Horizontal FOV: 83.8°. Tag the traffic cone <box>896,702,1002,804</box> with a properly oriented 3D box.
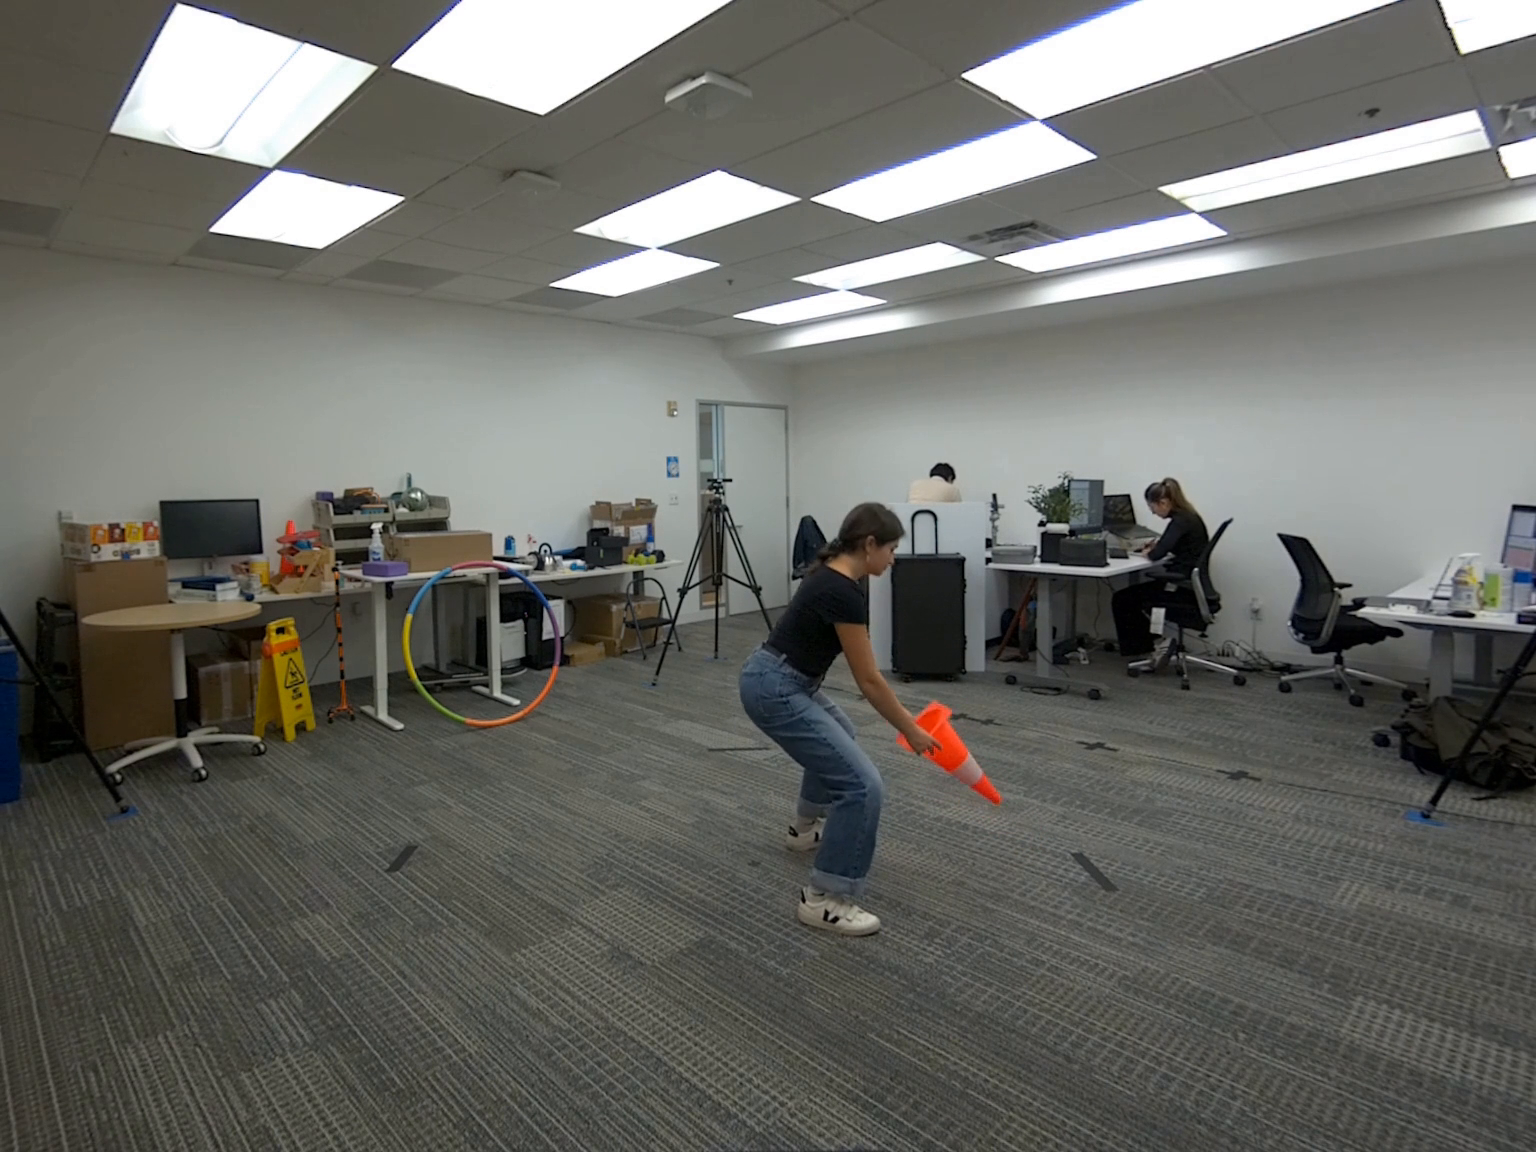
[{"bbox_3d":[0.662,0.646,2.951,0.205,0.380,0.205,-44,7,13],"label":"traffic cone"}]
